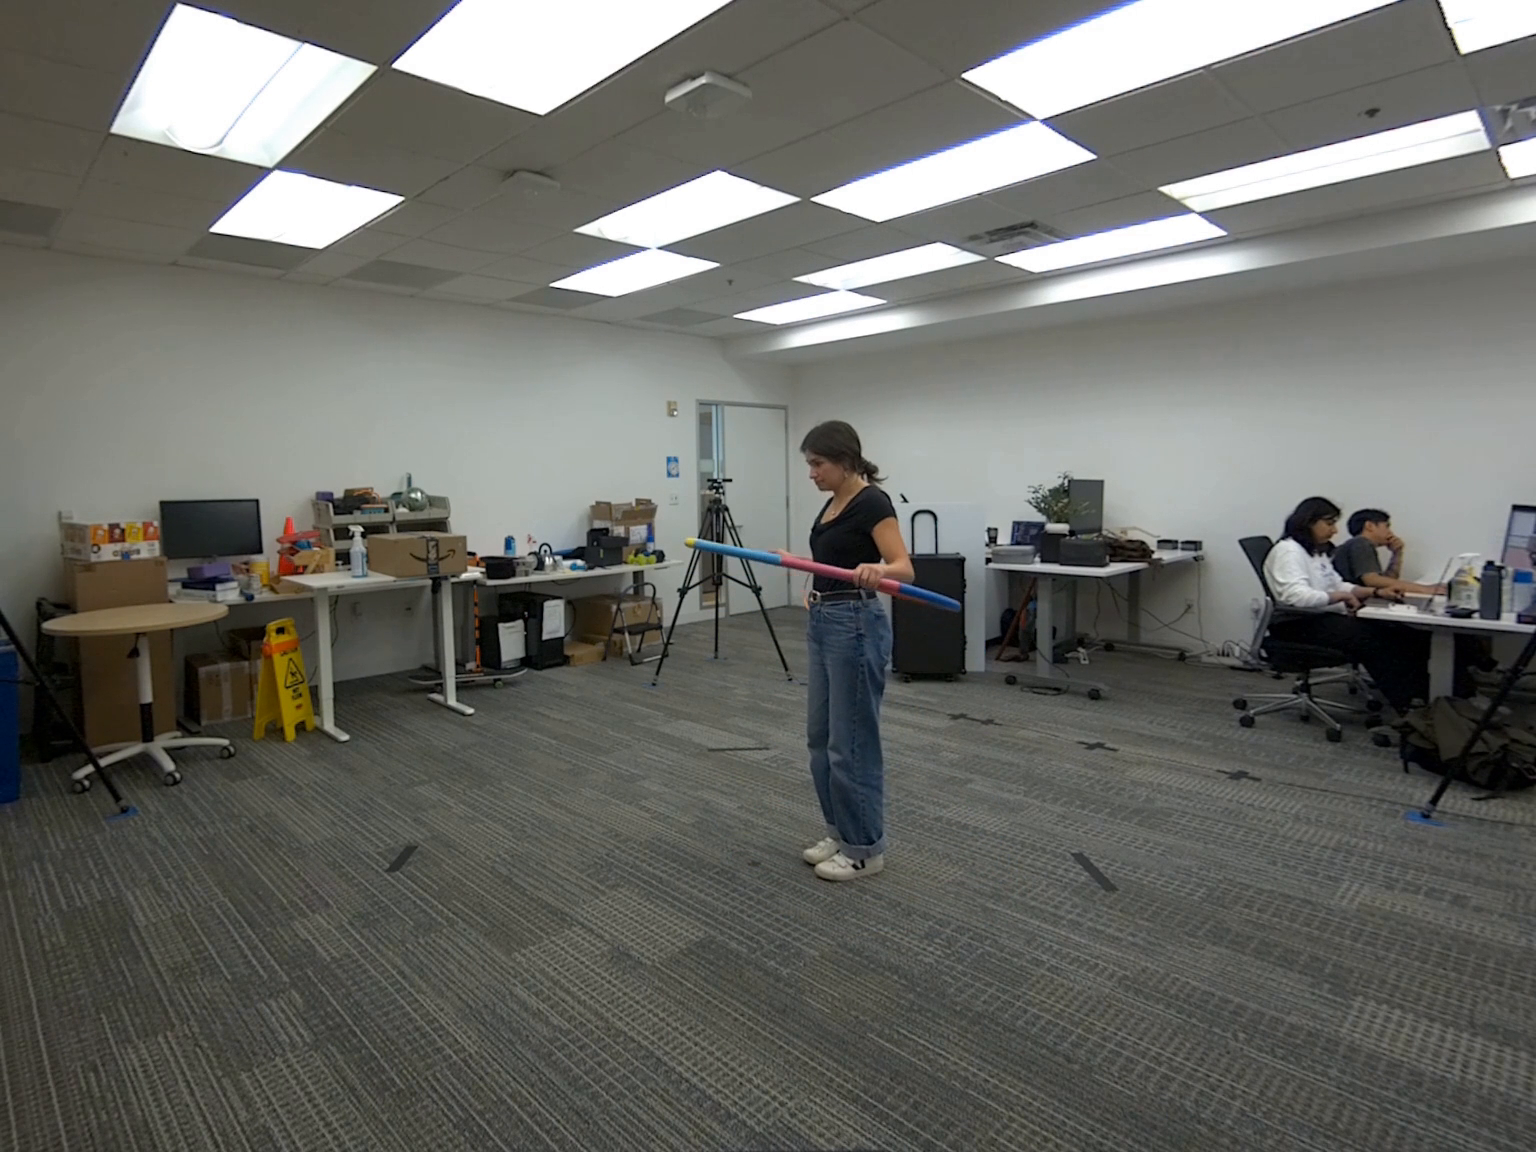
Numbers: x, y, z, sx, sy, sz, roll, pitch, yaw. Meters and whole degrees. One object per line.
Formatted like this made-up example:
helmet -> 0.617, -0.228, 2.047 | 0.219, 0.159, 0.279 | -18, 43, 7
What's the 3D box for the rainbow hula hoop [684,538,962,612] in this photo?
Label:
rainbow hula hoop -> 0.198, -0.012, 3.023 | 0.978, 0.035, 0.979 | 14, 1, -2
